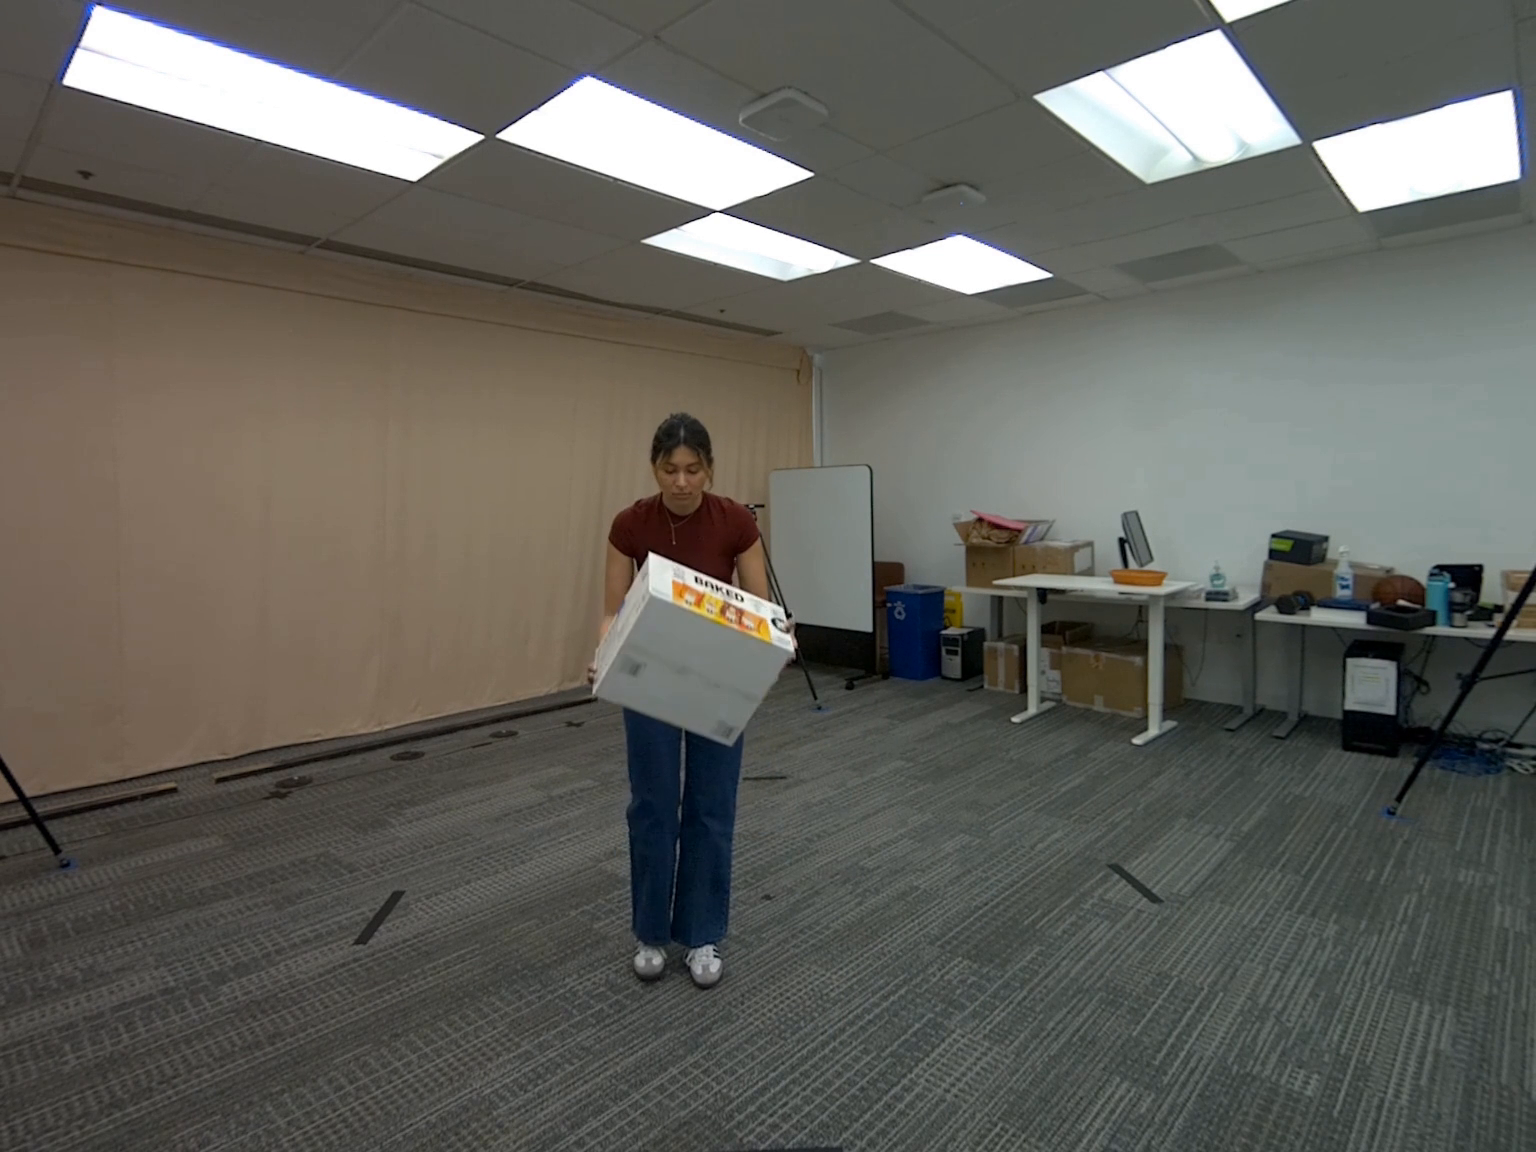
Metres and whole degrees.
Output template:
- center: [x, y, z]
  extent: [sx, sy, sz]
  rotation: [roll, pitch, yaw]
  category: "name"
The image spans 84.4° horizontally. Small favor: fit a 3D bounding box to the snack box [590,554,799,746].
- center: [-0.199, 0.196, 2.197]
  extent: [0.397, 0.340, 0.210]
  rotation: [24, 23, -18]
  category: "snack box"
